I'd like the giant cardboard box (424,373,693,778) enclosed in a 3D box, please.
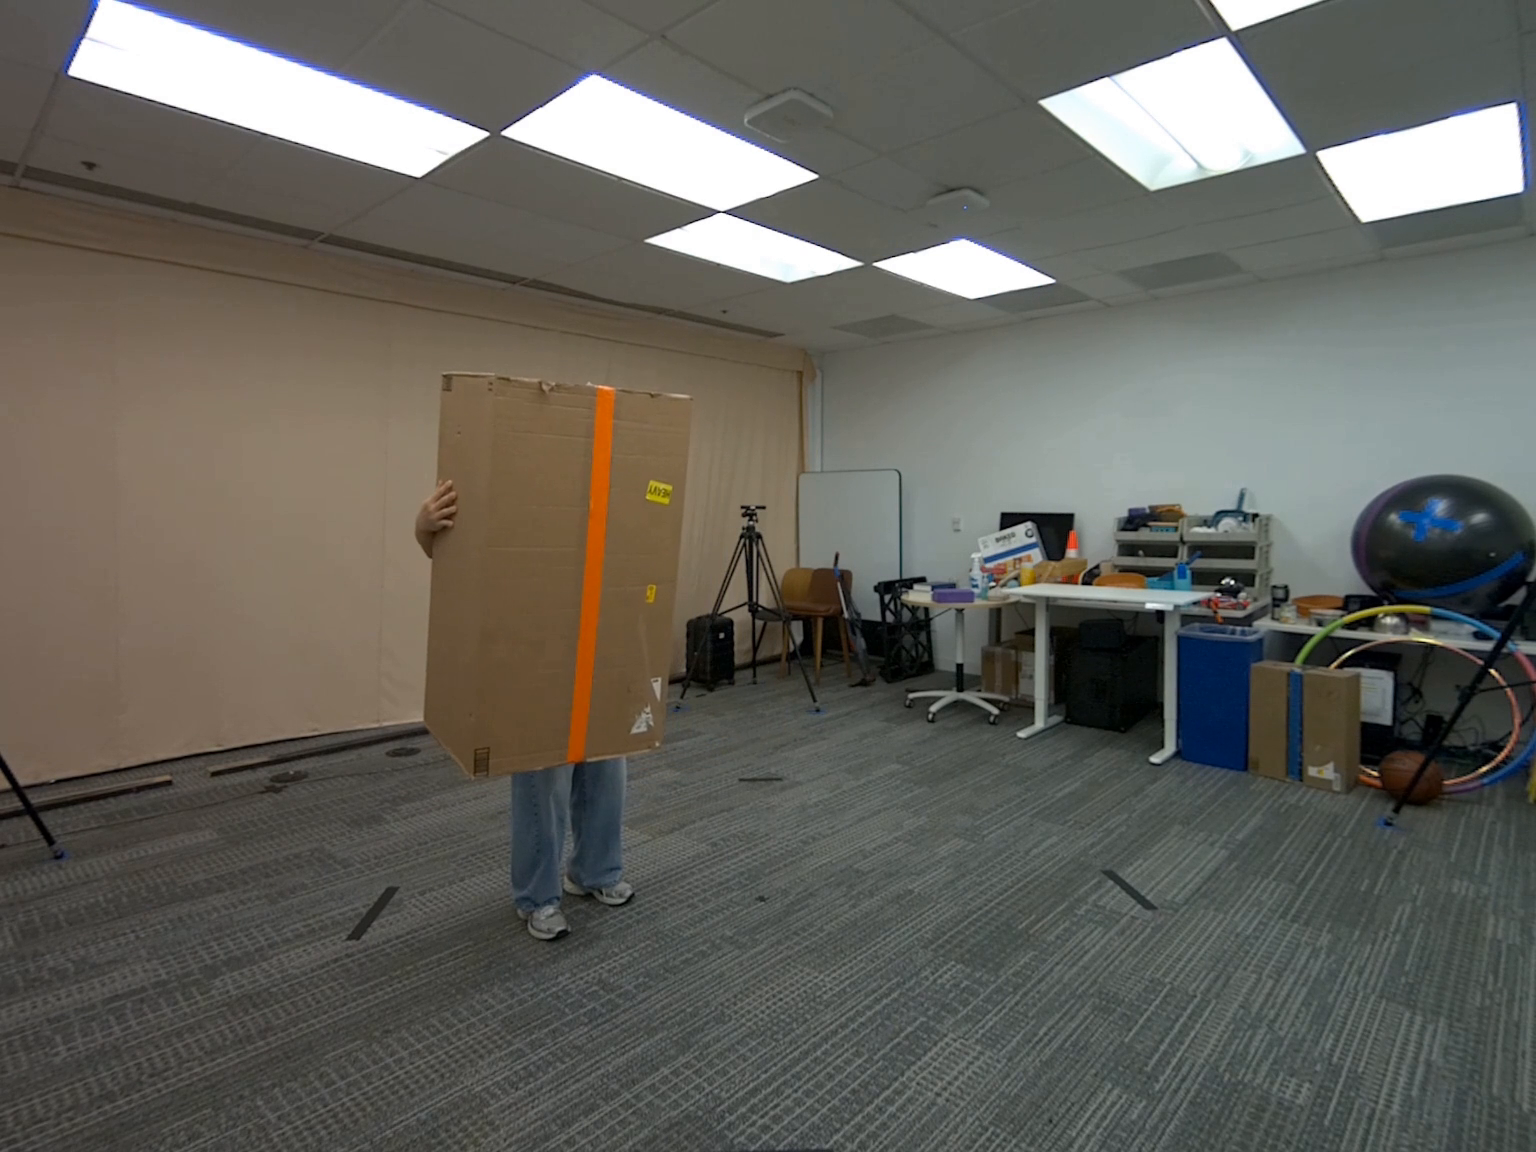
[{"bbox_3d":[-0.597,-0.026,2.392,0.560,1.021,0.441,0,10,-38],"label":"giant cardboard box"}]
